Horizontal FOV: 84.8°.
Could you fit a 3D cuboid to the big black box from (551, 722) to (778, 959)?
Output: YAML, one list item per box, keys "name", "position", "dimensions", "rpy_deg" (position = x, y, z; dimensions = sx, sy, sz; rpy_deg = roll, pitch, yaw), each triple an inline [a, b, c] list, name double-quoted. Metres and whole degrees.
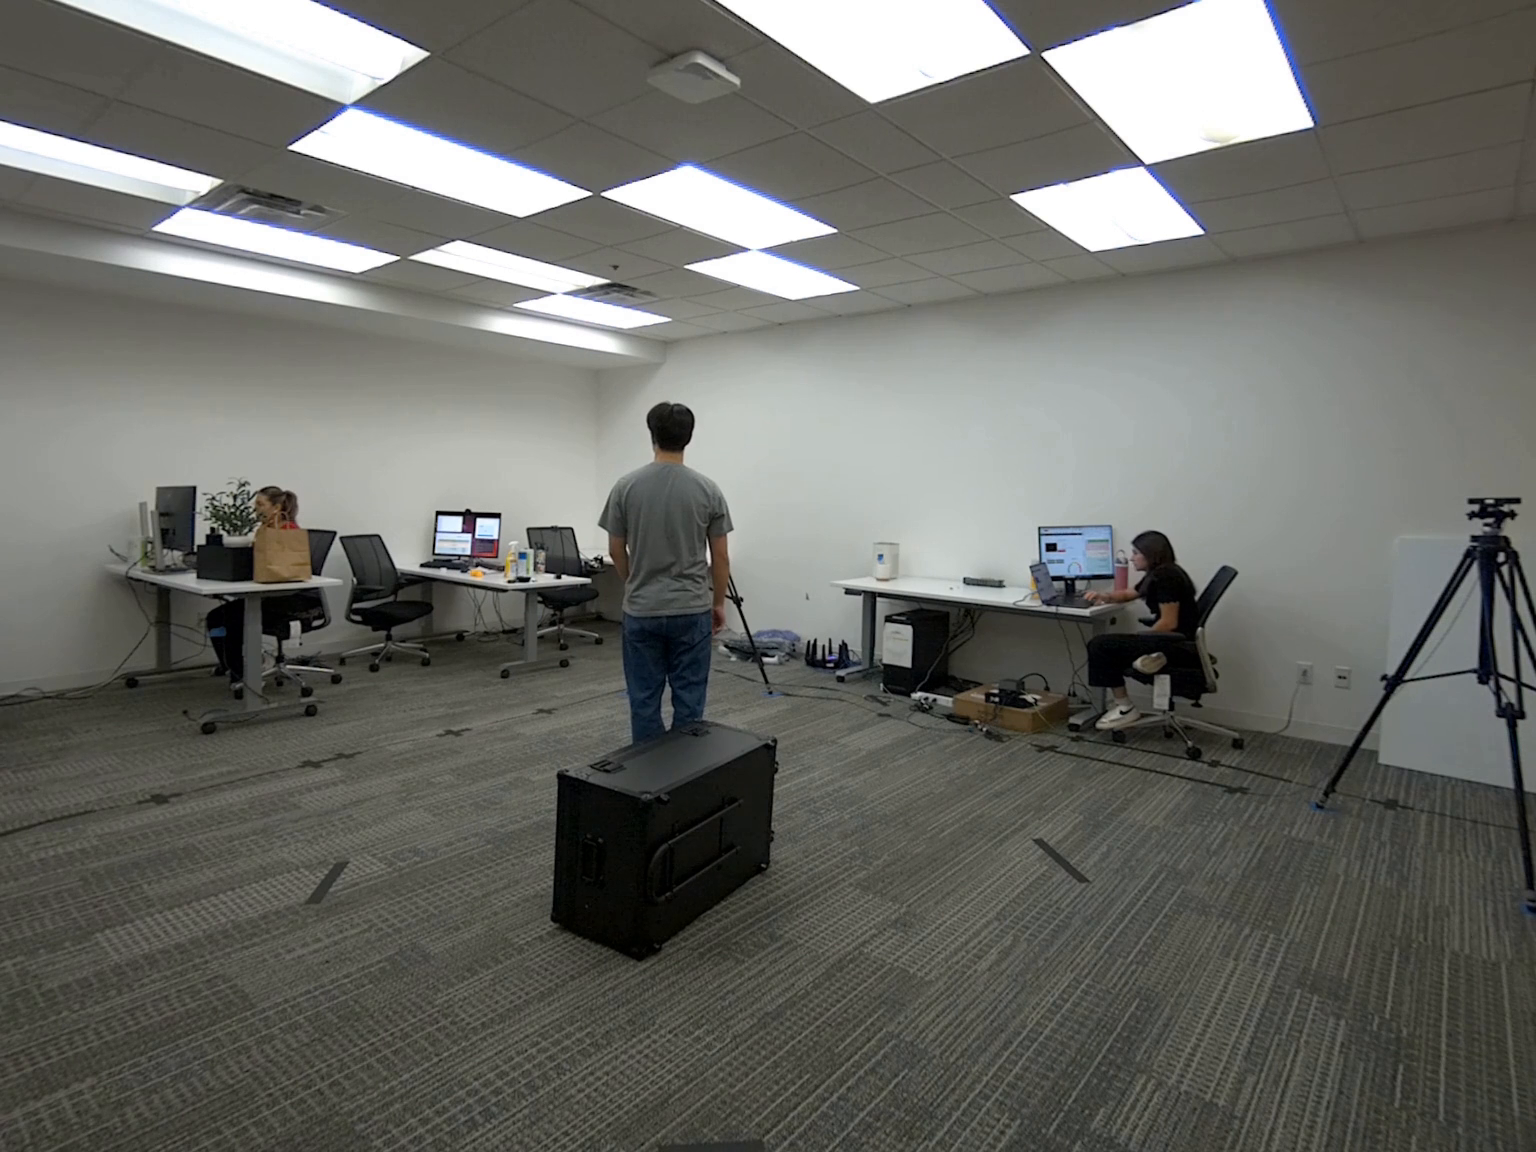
- name: "big black box"
  position: [-0.304, 0.828, 2.904]
  dimensions: [0.408, 0.519, 0.840]
  rpy_deg: [6, 6, 29]
